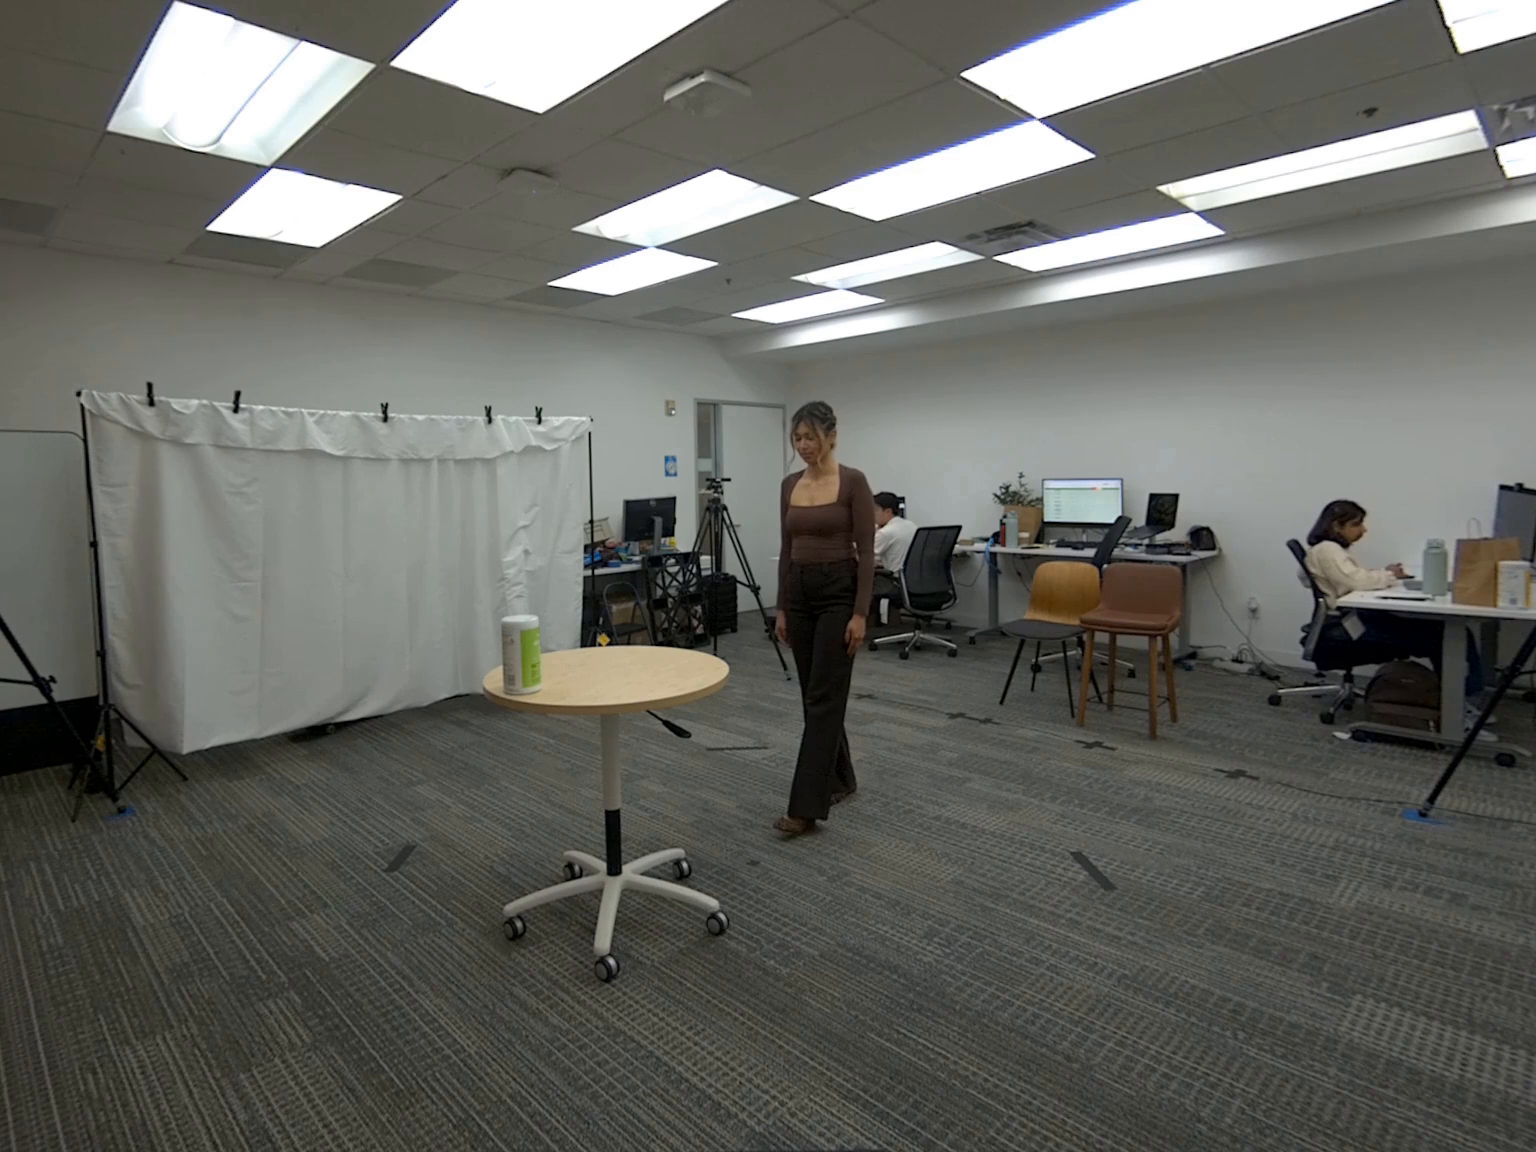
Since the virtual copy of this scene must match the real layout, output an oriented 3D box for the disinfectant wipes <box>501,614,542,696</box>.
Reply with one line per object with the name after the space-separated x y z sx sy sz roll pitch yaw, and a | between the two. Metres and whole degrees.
-0.718 0.231 2.469 0.118 0.216 0.118 -2 5 -2 | disinfectant wipes
